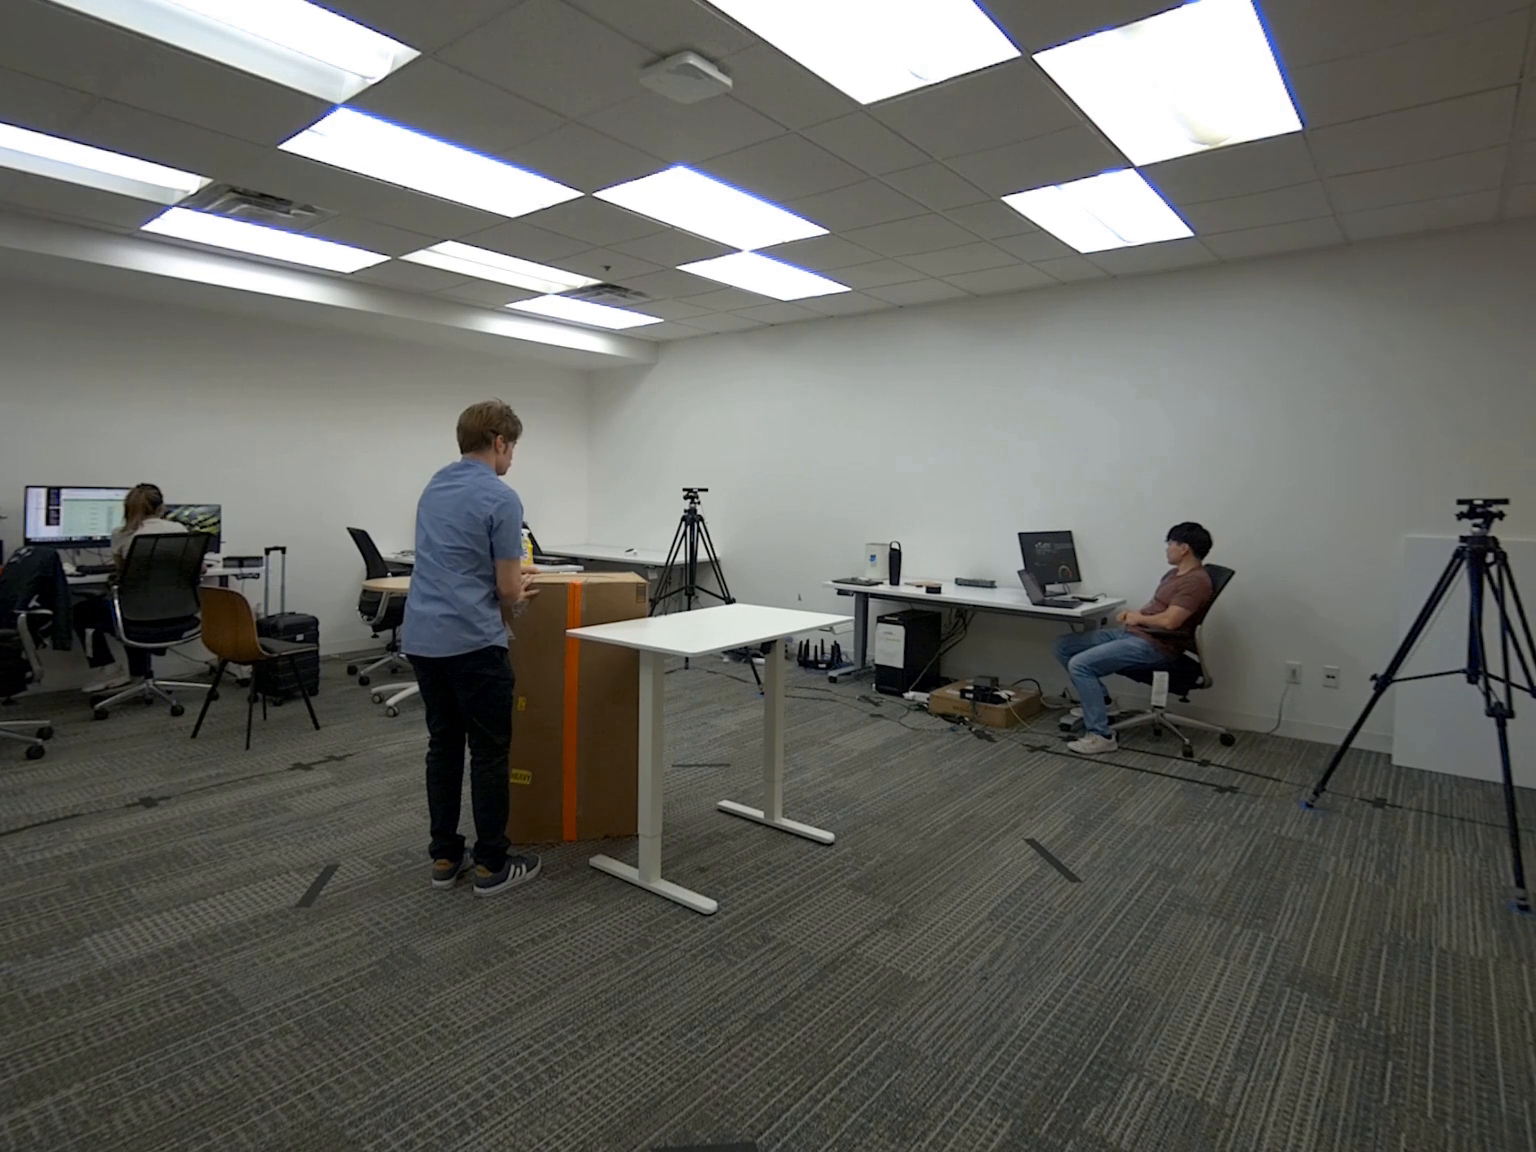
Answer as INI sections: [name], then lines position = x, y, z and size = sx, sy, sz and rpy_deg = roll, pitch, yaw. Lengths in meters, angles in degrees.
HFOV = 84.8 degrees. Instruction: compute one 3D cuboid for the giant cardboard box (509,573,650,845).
[giant cardboard box]
position = -0.835, 0.506, 3.521
size = 0.568, 1.023, 0.434
rpy_deg = 1, 3, -15
